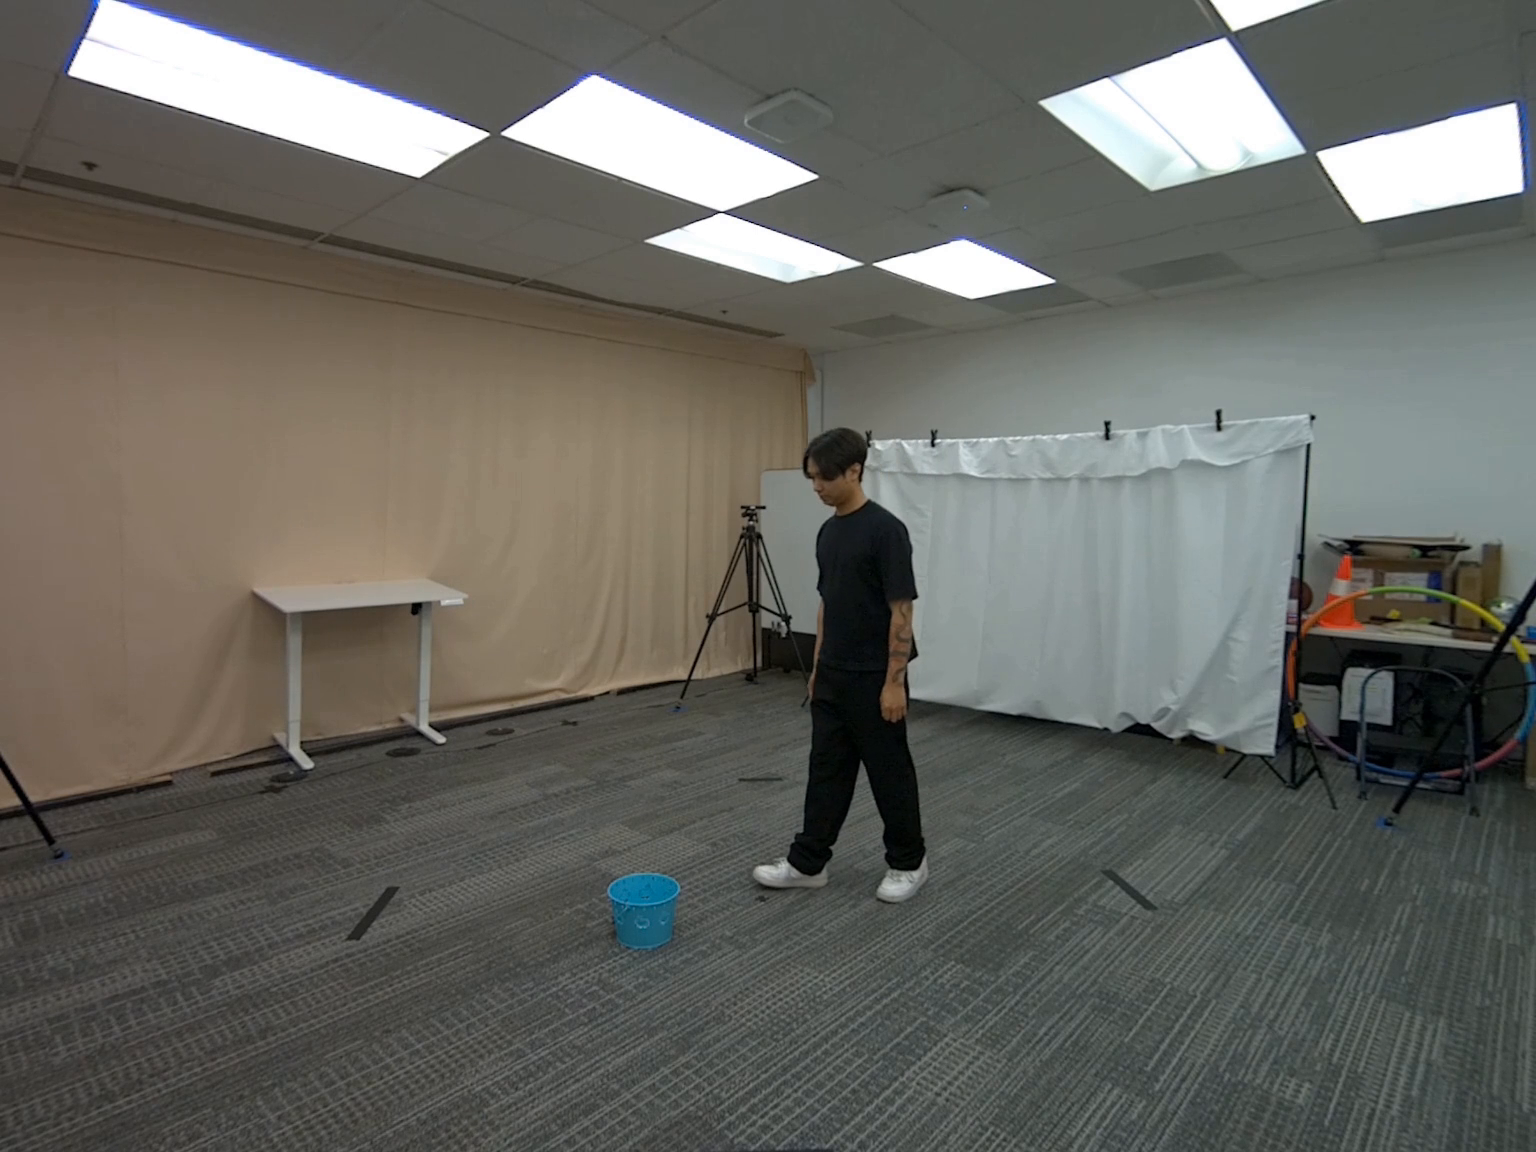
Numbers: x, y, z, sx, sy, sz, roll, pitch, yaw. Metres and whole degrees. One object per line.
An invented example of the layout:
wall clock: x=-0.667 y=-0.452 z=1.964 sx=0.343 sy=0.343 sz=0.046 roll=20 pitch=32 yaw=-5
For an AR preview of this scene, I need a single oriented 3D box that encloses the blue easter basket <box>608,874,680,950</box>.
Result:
blue easter basket: x=-0.404 y=1.090 z=2.738 sx=0.243 sy=0.155 sz=0.244 roll=0 pitch=4 yaw=-2
